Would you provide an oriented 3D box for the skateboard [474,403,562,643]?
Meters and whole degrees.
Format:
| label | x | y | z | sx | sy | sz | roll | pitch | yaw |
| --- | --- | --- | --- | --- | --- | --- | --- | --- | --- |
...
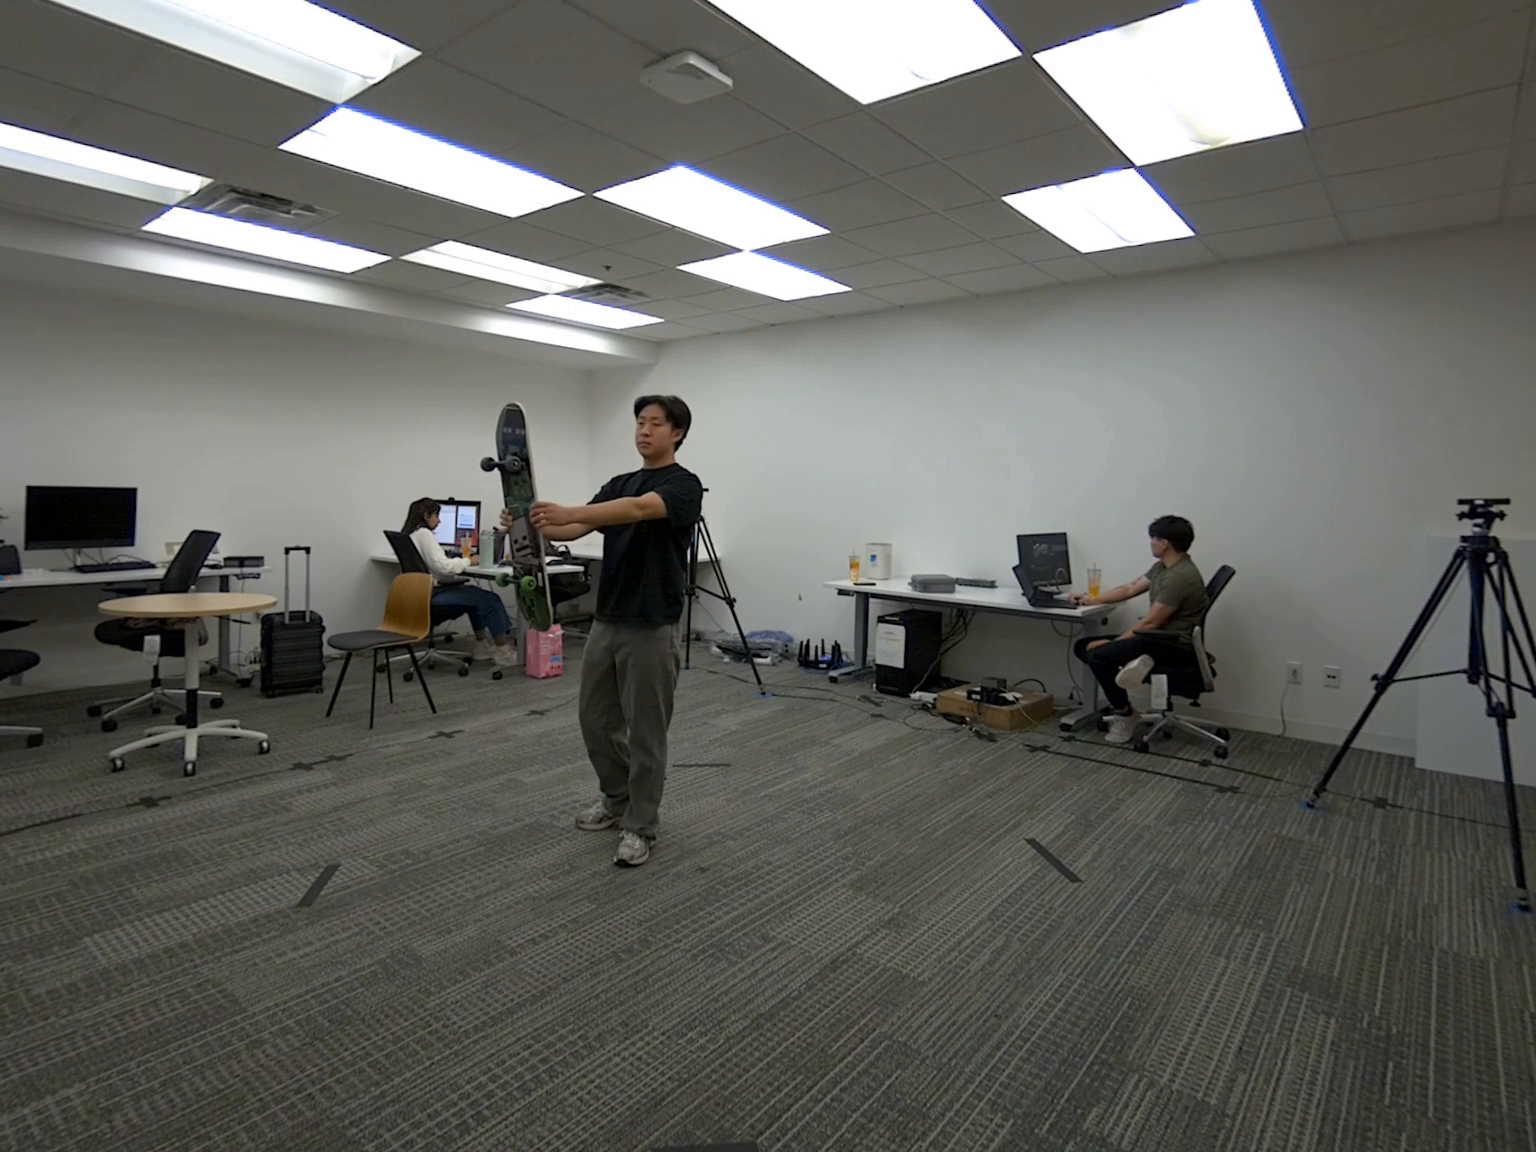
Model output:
| label | x | y | z | sx | sy | sz | roll | pitch | yaw |
| --- | --- | --- | --- | --- | --- | --- | --- | --- | --- |
| skateboard | -0.848 | -0.182 | 2.854 | 0.200 | 0.778 | 0.108 | 4 | 13 | 44 |
